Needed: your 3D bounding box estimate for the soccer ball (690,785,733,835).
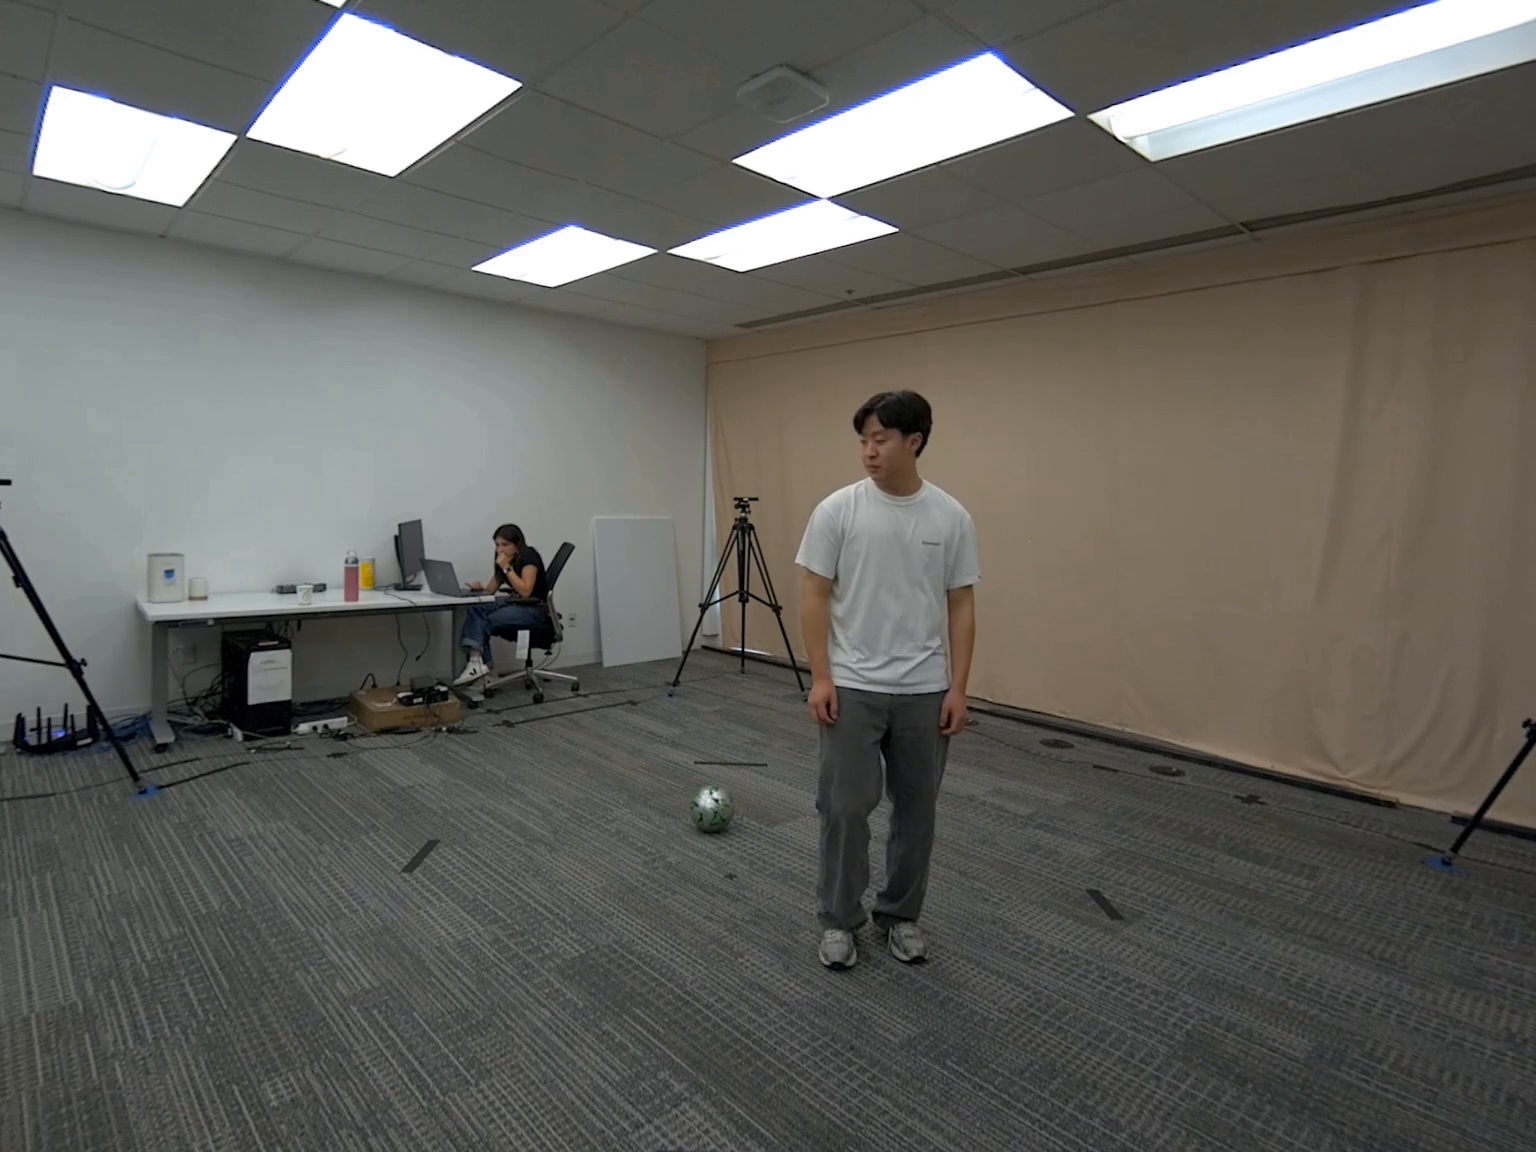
[{"bbox_3d":[-0.246,0.978,3.530,0.187,0.187,0.188,1,4,-1],"label":"soccer ball"}]
